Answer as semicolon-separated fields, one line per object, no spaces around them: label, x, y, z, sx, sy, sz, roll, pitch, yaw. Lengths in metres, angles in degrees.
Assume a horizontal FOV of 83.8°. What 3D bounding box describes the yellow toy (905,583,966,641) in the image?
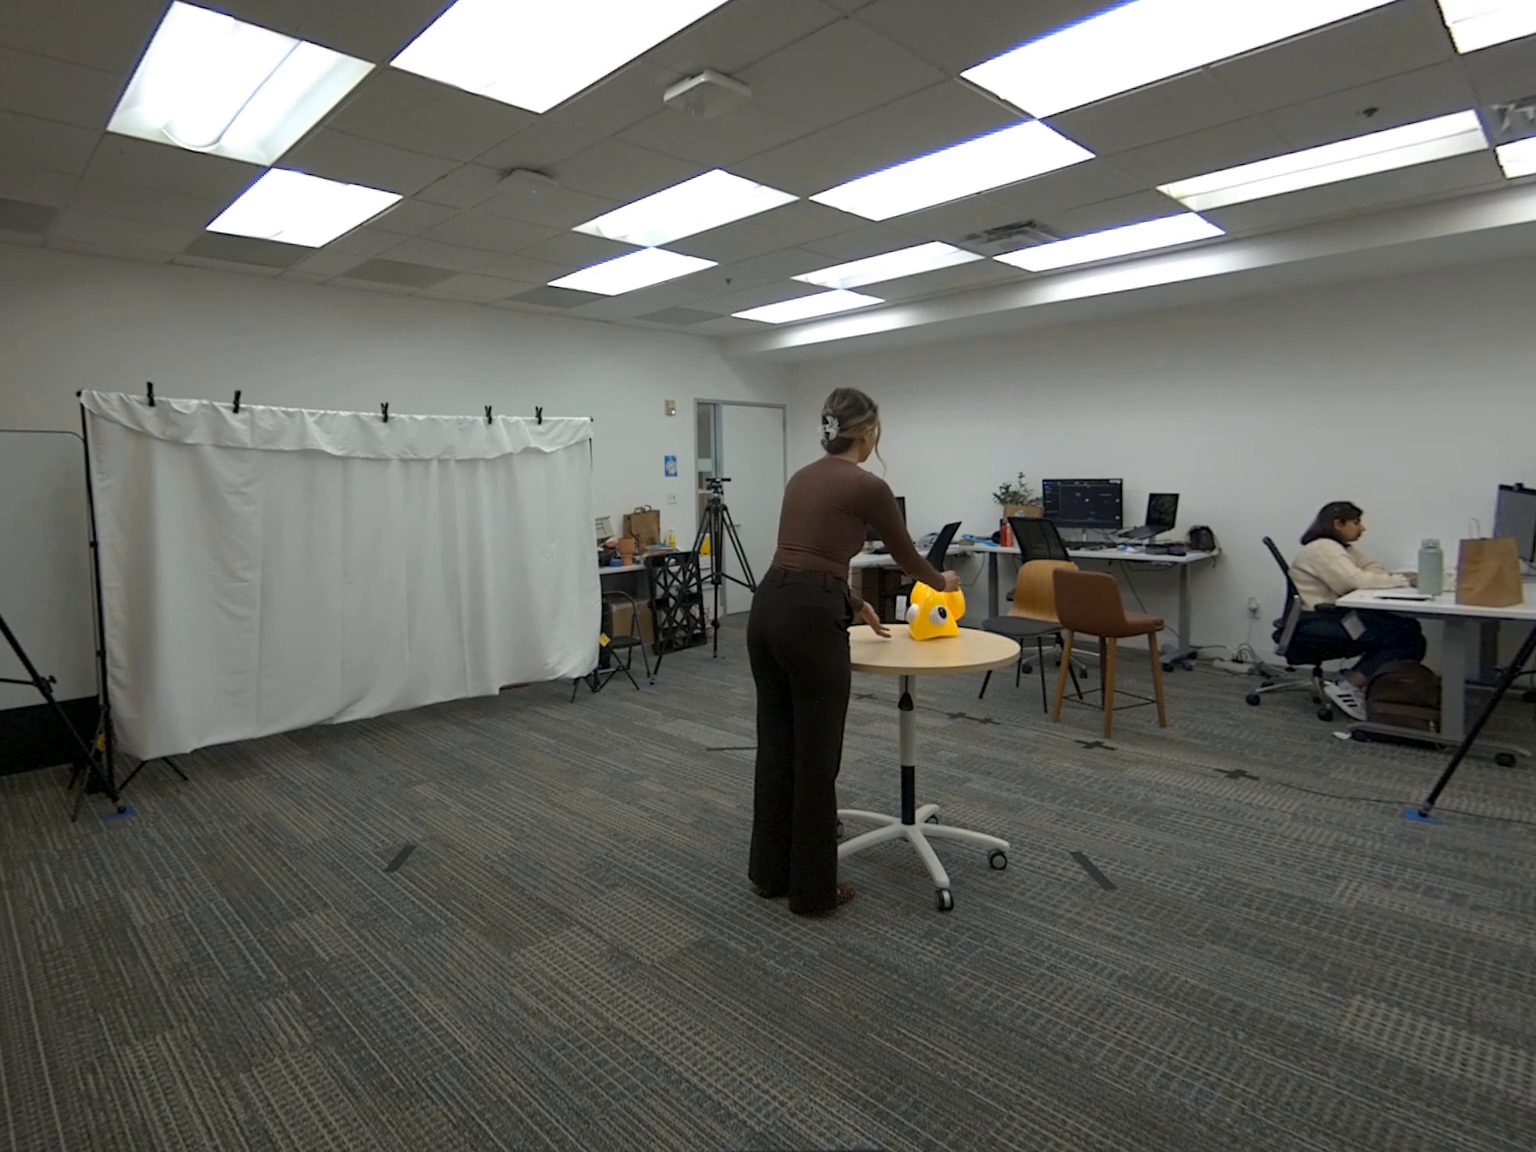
yellow toy;0.597;0.139;3.164;0.211;0.190;0.228;2;20;35
